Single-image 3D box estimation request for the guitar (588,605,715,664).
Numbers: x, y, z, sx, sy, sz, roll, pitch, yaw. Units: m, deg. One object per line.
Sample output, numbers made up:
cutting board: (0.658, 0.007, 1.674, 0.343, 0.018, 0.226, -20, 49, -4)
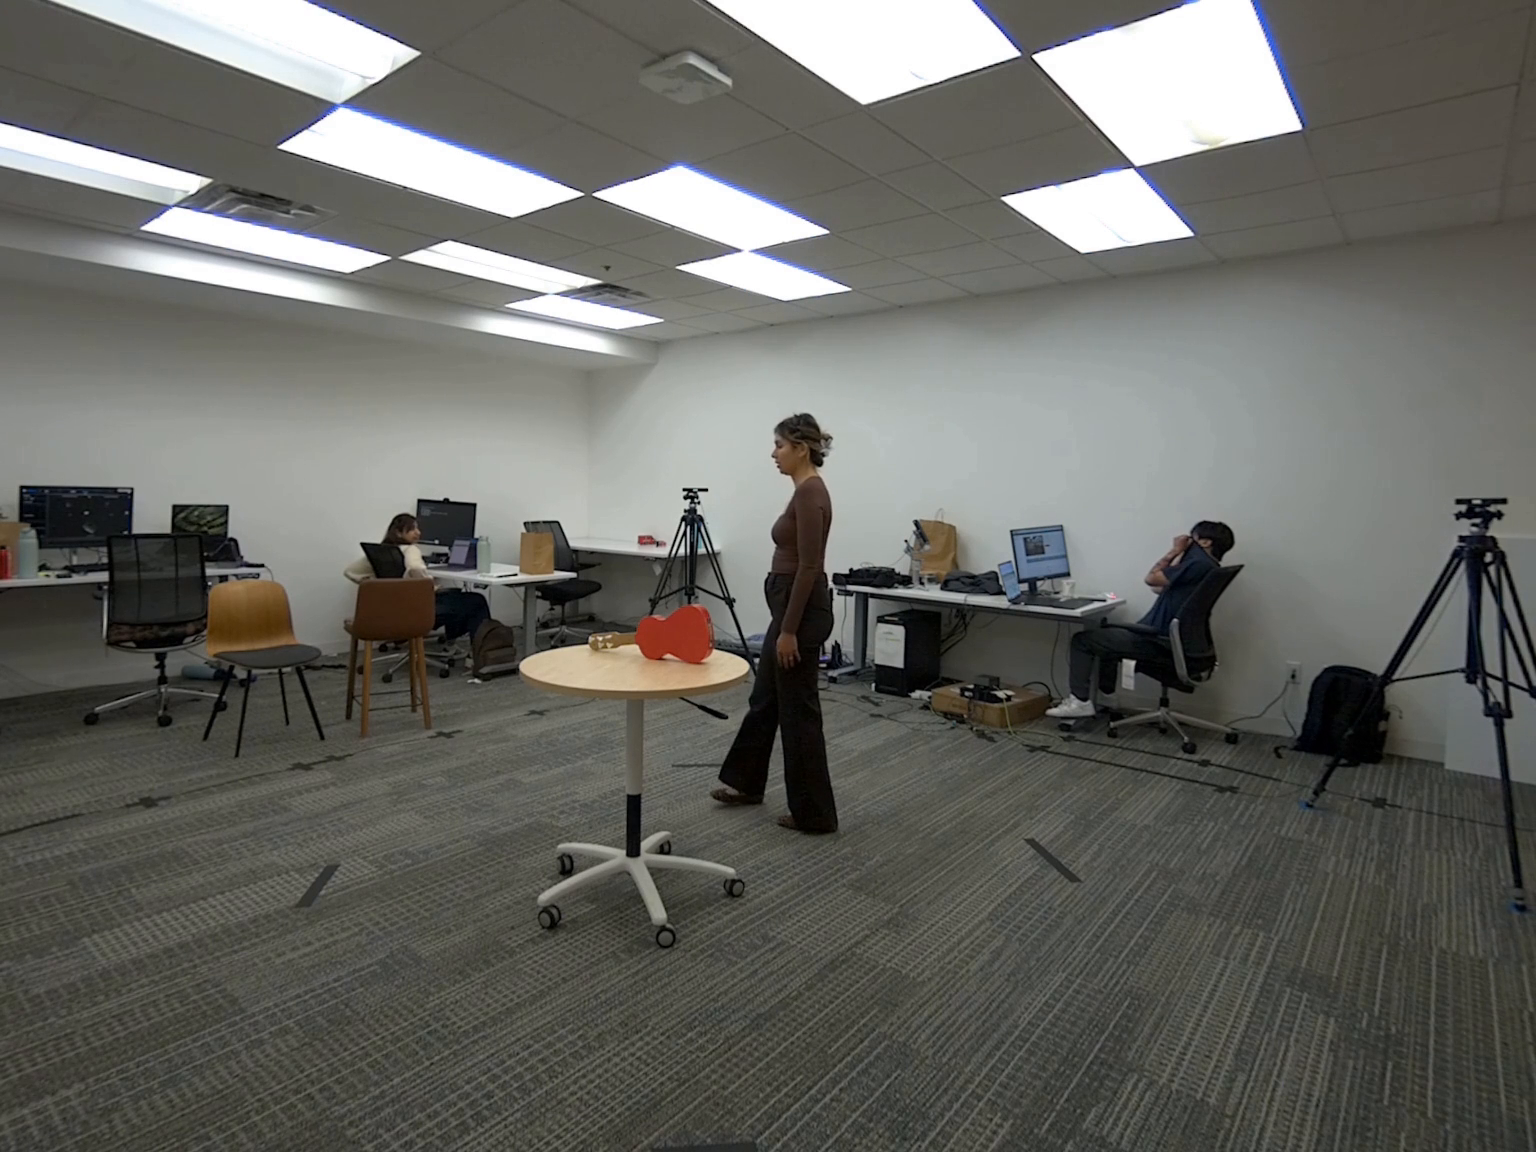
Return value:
guitar: (-0.430, 0.241, 2.966, 0.505, 0.194, 0.069, -16, -3, 22)
